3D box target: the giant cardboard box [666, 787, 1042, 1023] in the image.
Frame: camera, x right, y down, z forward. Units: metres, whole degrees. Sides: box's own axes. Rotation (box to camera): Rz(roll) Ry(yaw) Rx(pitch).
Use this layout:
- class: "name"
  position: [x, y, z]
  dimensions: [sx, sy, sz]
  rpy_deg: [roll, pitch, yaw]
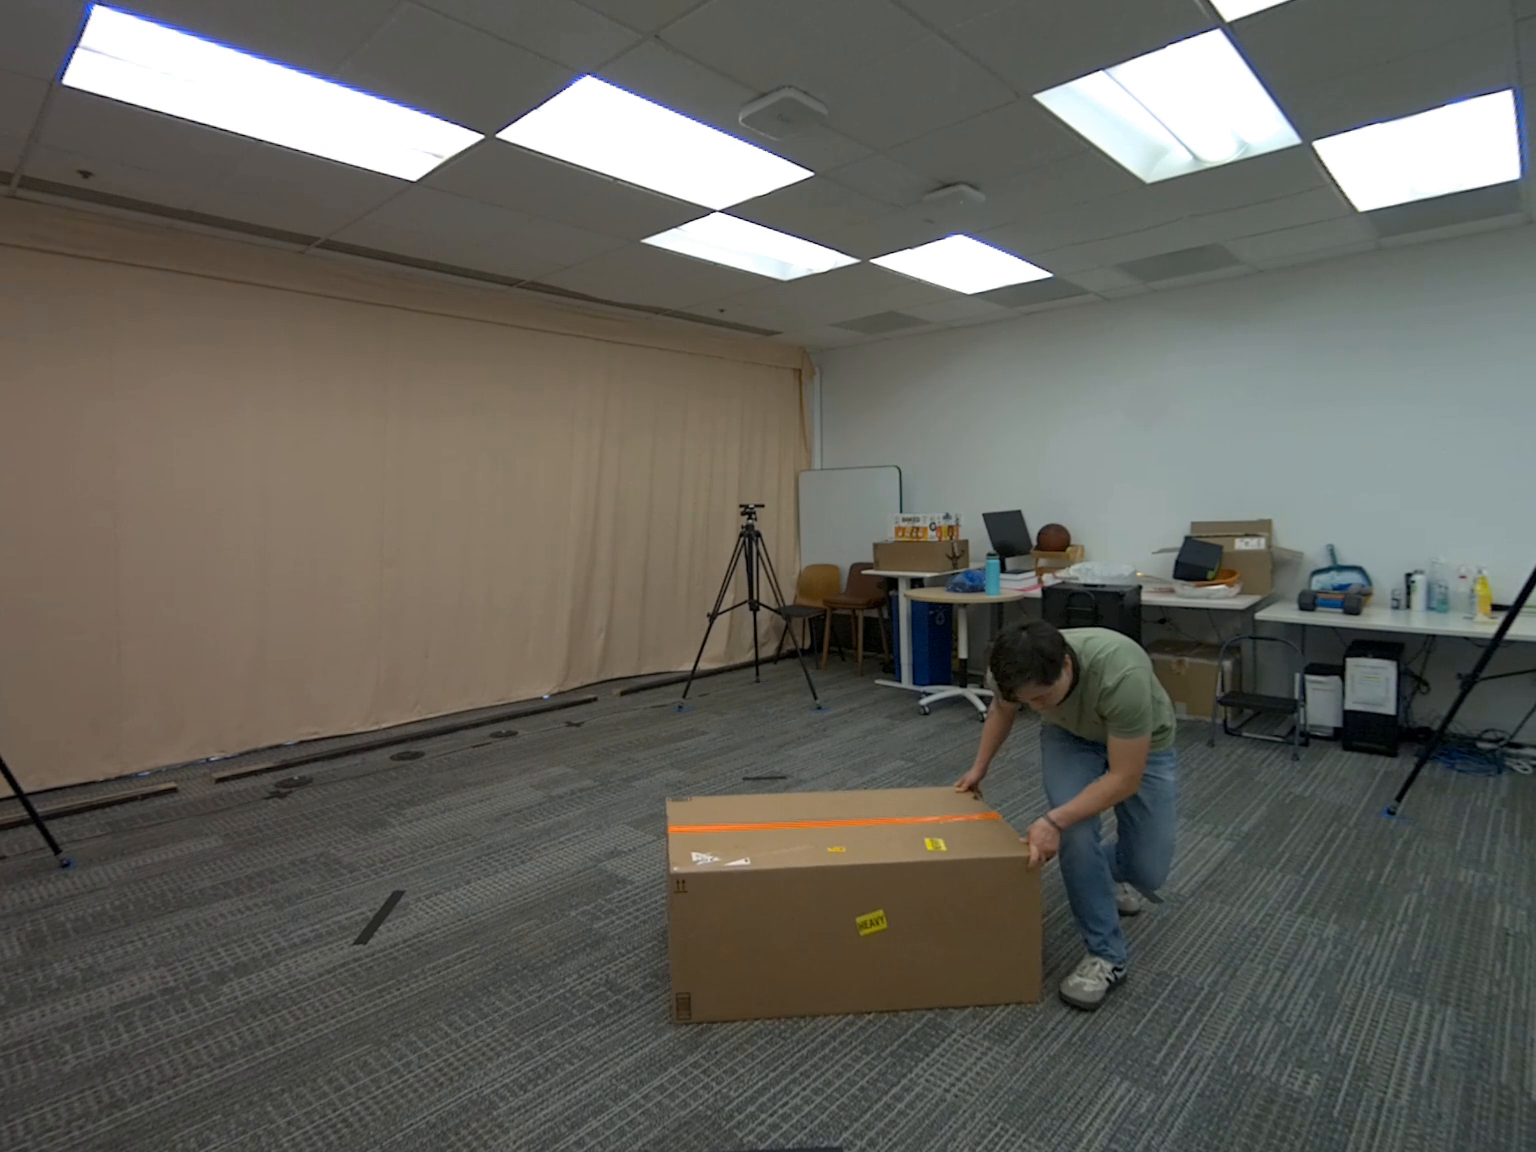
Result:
- class: "giant cardboard box"
  position: [0.209, 0.960, 2.564]
  dimensions: [1.020, 0.425, 0.582]
  rpy_deg: [-1, 5, -5]
